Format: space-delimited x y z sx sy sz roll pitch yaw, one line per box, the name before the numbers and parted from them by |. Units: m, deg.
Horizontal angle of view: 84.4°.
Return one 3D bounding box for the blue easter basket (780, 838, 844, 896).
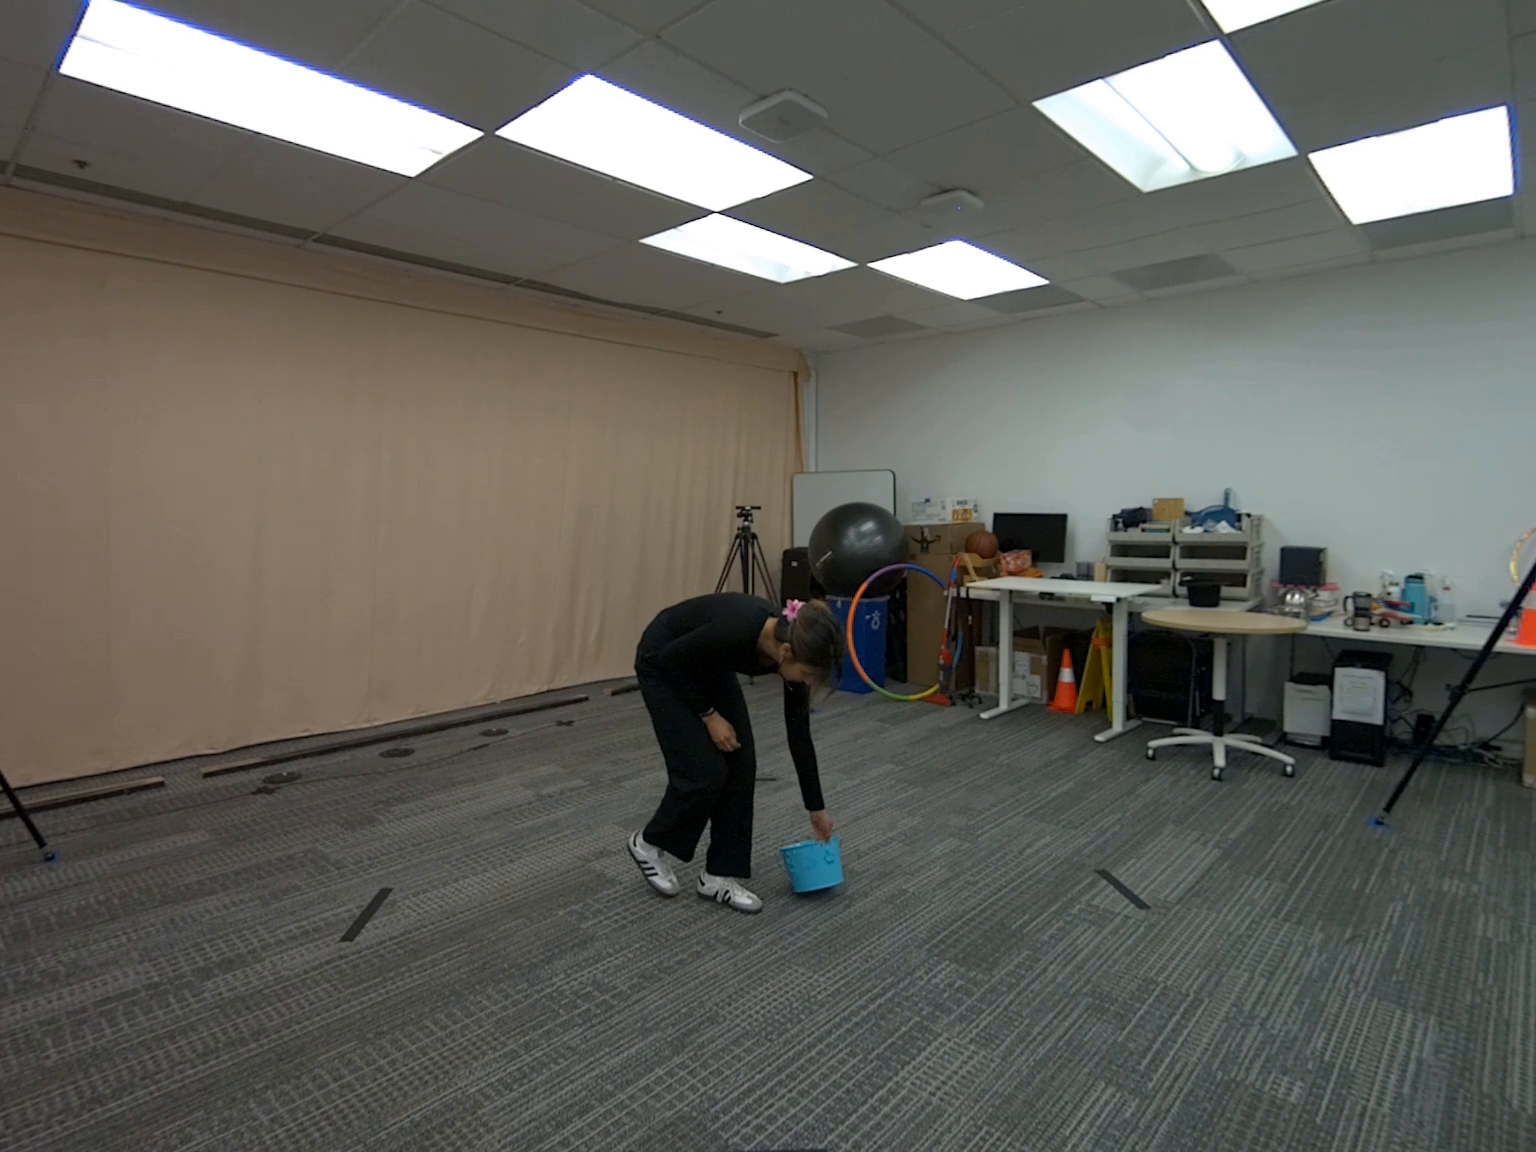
blue easter basket | 0.166 1.034 3.029 0.243 0.158 0.241 -10 -14 -5
